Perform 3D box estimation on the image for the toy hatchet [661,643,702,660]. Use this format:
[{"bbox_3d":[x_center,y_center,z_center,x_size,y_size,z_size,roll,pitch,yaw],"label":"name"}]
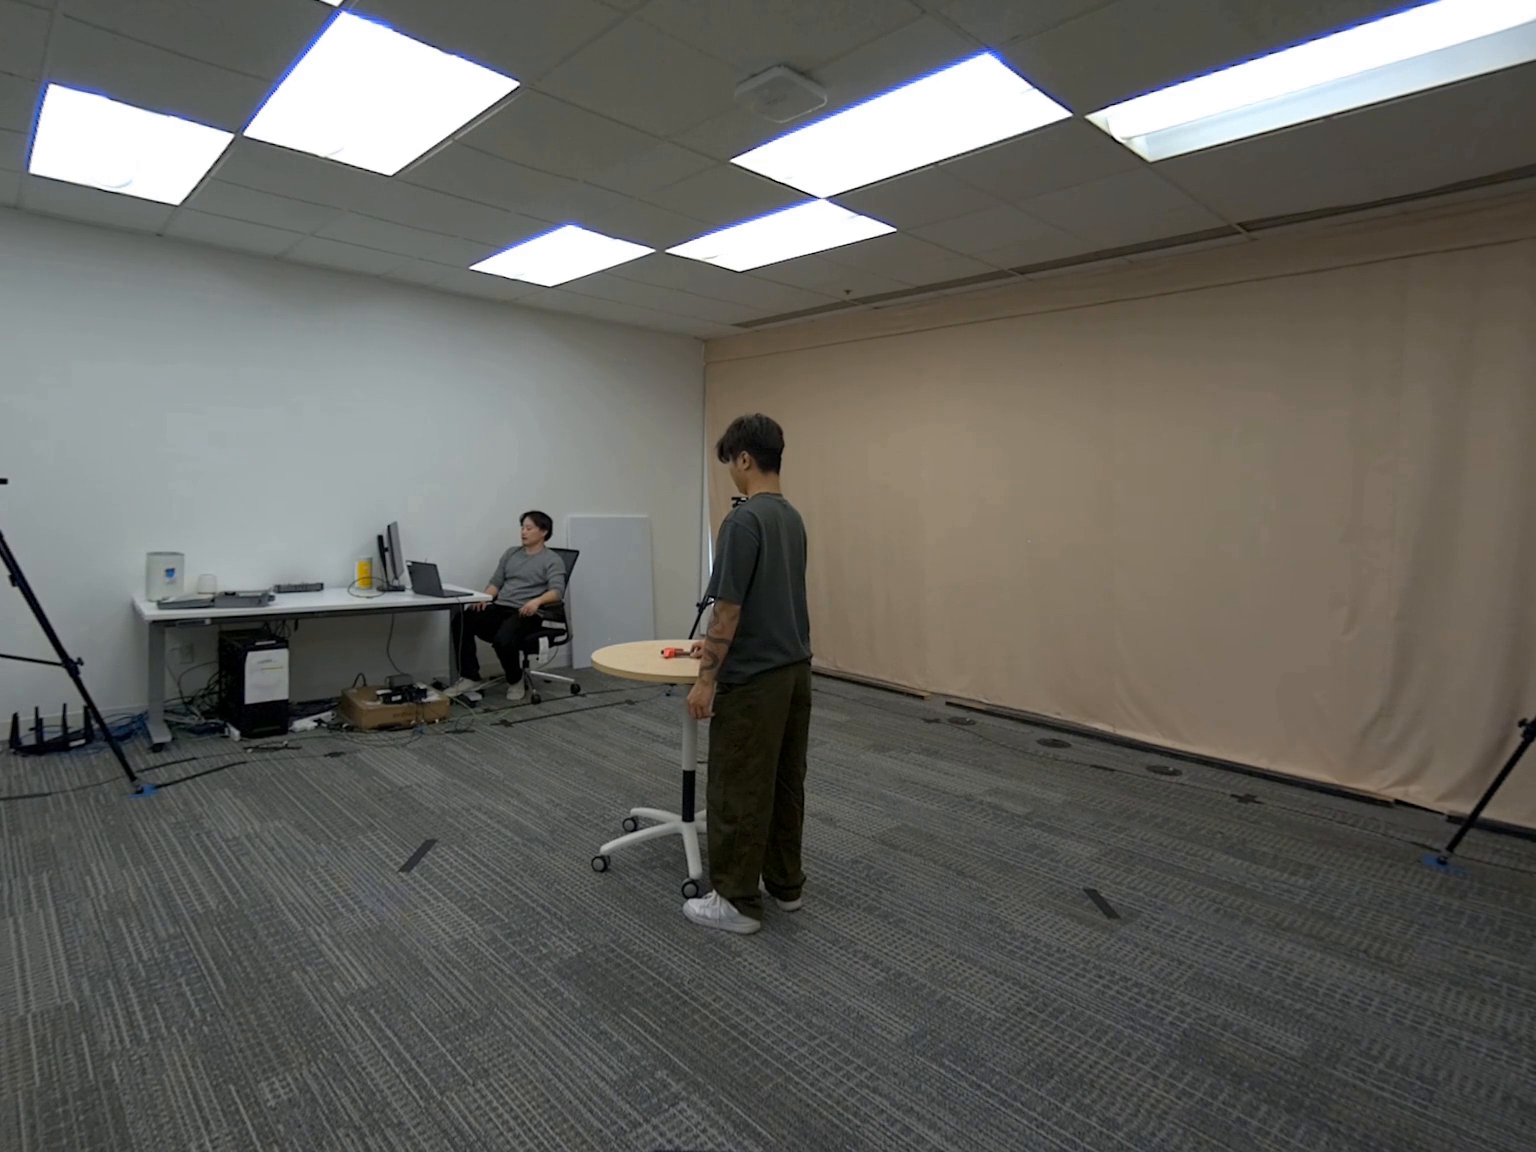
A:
[{"bbox_3d":[-0.294,0.297,3.231,0.266,0.029,0.133,0,8,-18],"label":"toy hatchet"}]
